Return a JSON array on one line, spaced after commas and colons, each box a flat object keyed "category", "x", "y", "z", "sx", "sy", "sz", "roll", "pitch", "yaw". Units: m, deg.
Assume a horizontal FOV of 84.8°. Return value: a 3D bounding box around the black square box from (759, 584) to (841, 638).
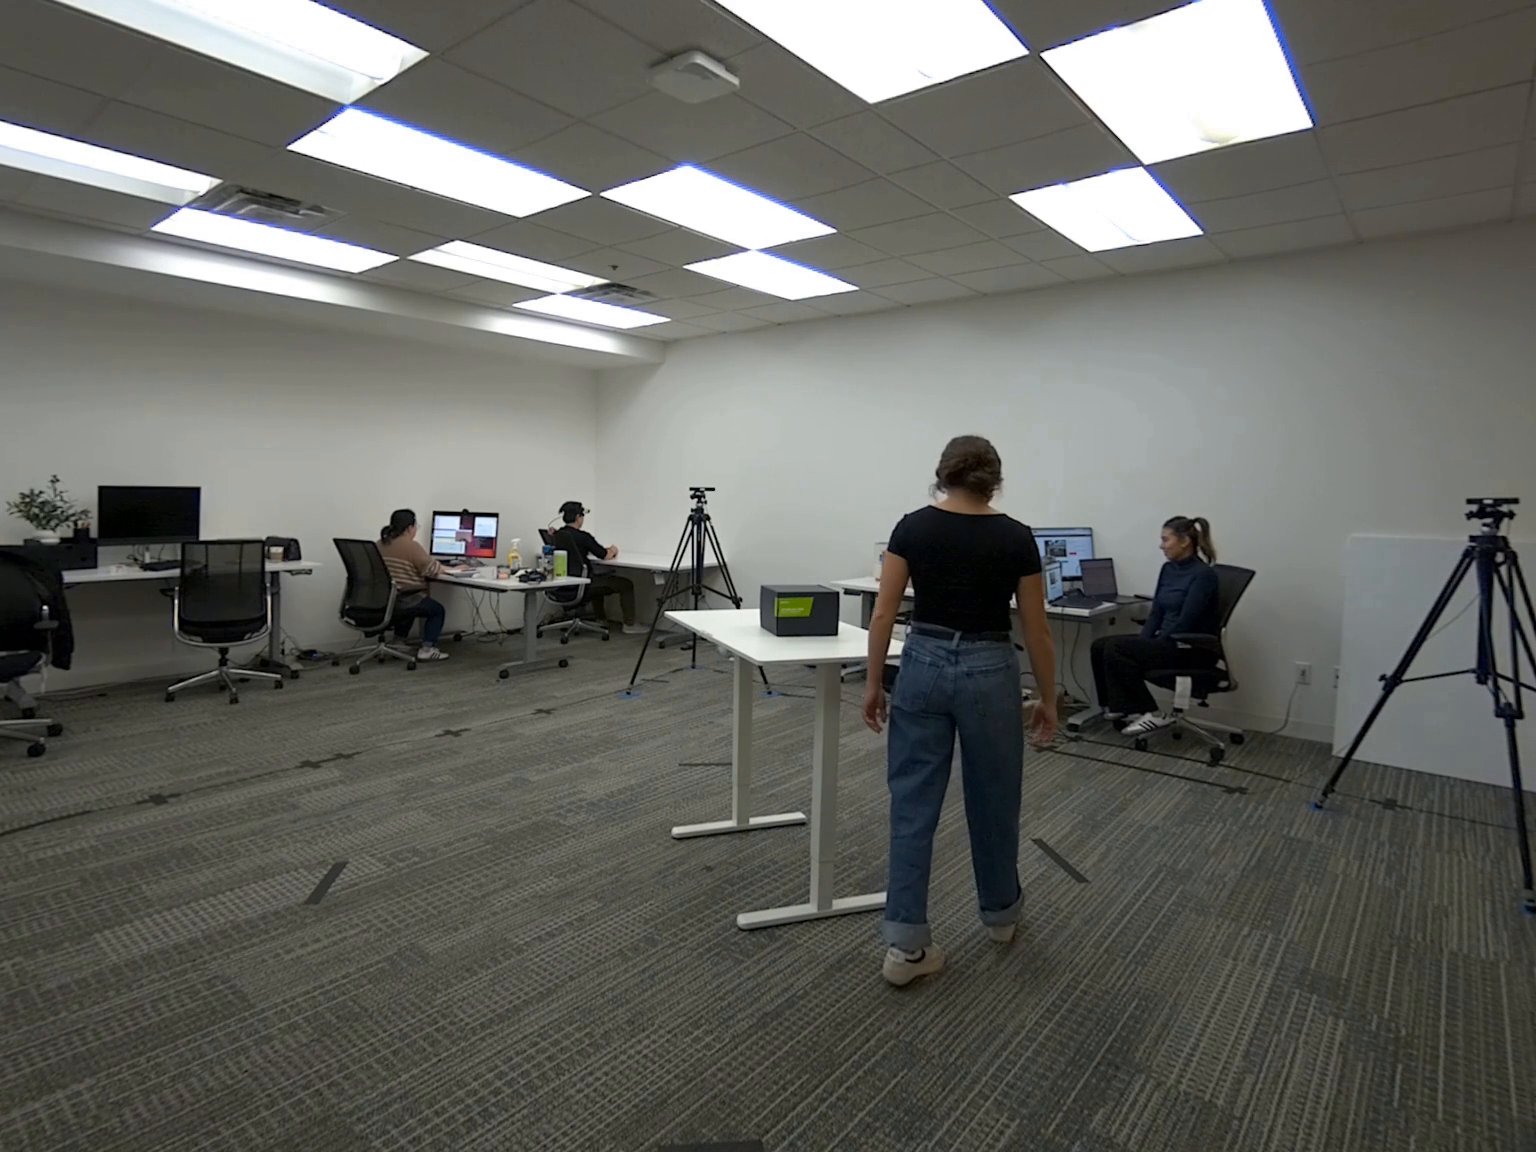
[{"category": "black square box", "x": 0.101, "y": 0.111, "z": 3.047, "sx": 0.225, "sy": 0.155, "sz": 0.220, "roll": 0, "pitch": 4, "yaw": -12}]
